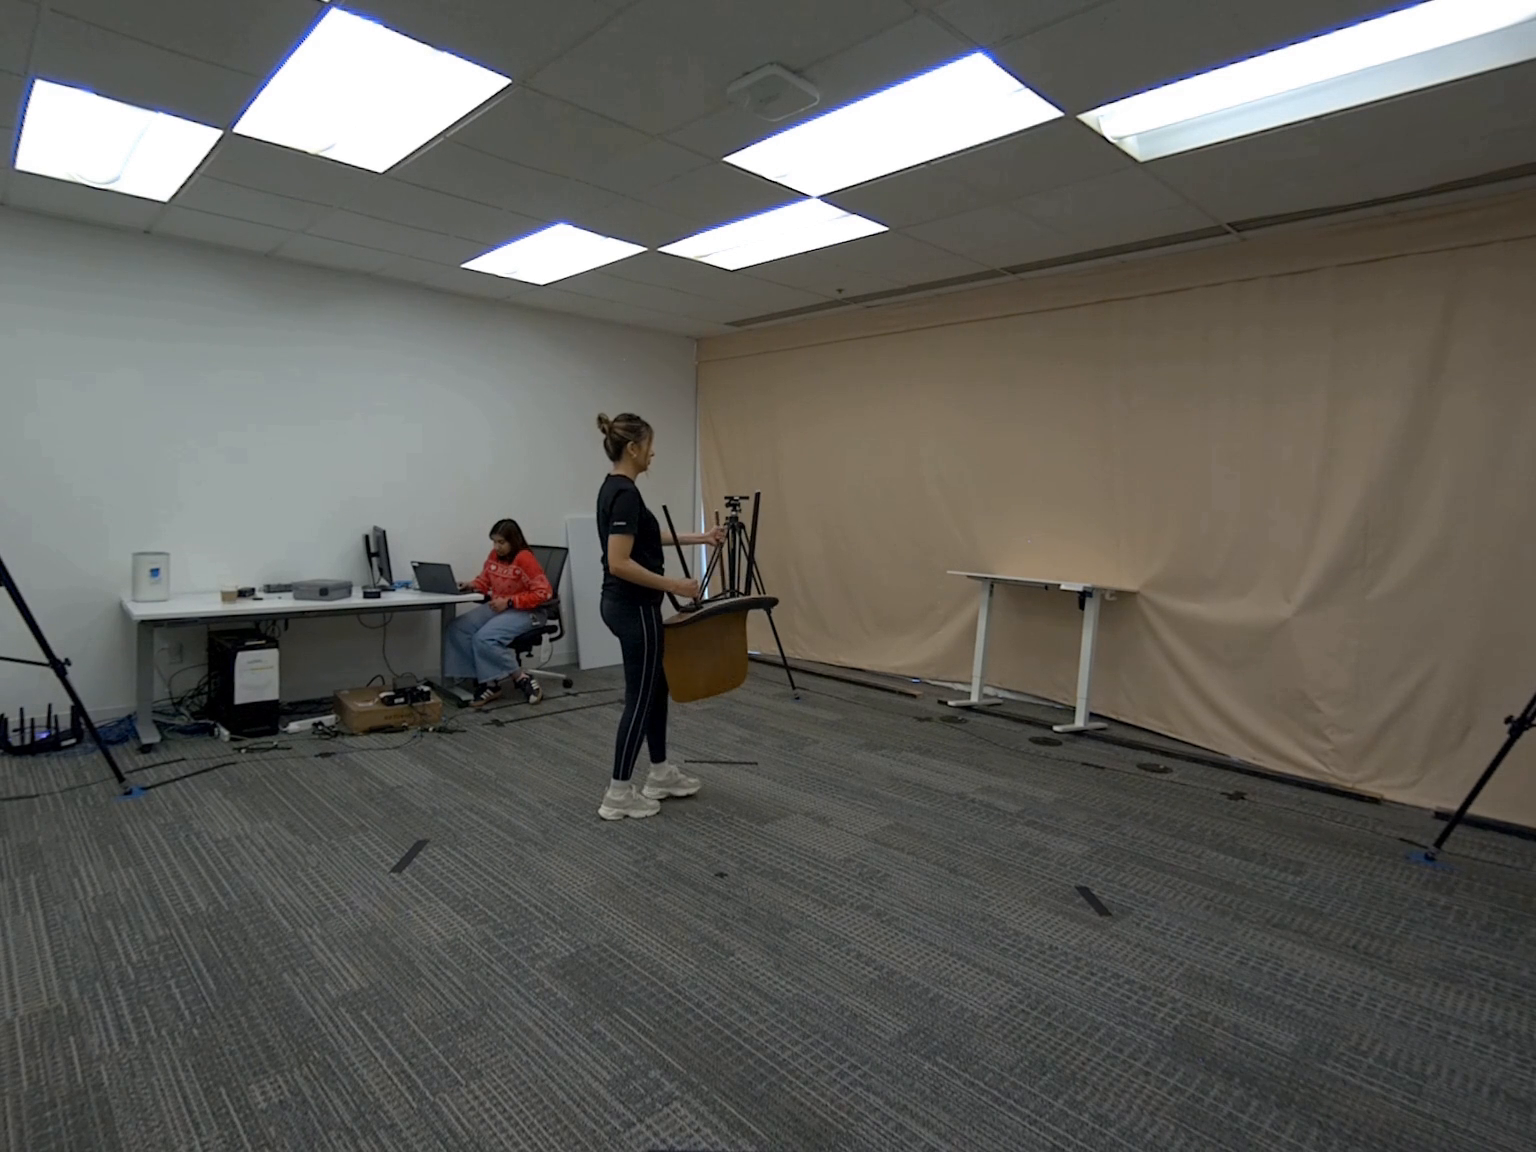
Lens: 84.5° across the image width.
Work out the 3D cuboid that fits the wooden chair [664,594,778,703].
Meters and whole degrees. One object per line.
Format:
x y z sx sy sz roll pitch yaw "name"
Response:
-0.243 0.124 3.645 0.470 0.878 0.531 -9 0 -28 "wooden chair"
